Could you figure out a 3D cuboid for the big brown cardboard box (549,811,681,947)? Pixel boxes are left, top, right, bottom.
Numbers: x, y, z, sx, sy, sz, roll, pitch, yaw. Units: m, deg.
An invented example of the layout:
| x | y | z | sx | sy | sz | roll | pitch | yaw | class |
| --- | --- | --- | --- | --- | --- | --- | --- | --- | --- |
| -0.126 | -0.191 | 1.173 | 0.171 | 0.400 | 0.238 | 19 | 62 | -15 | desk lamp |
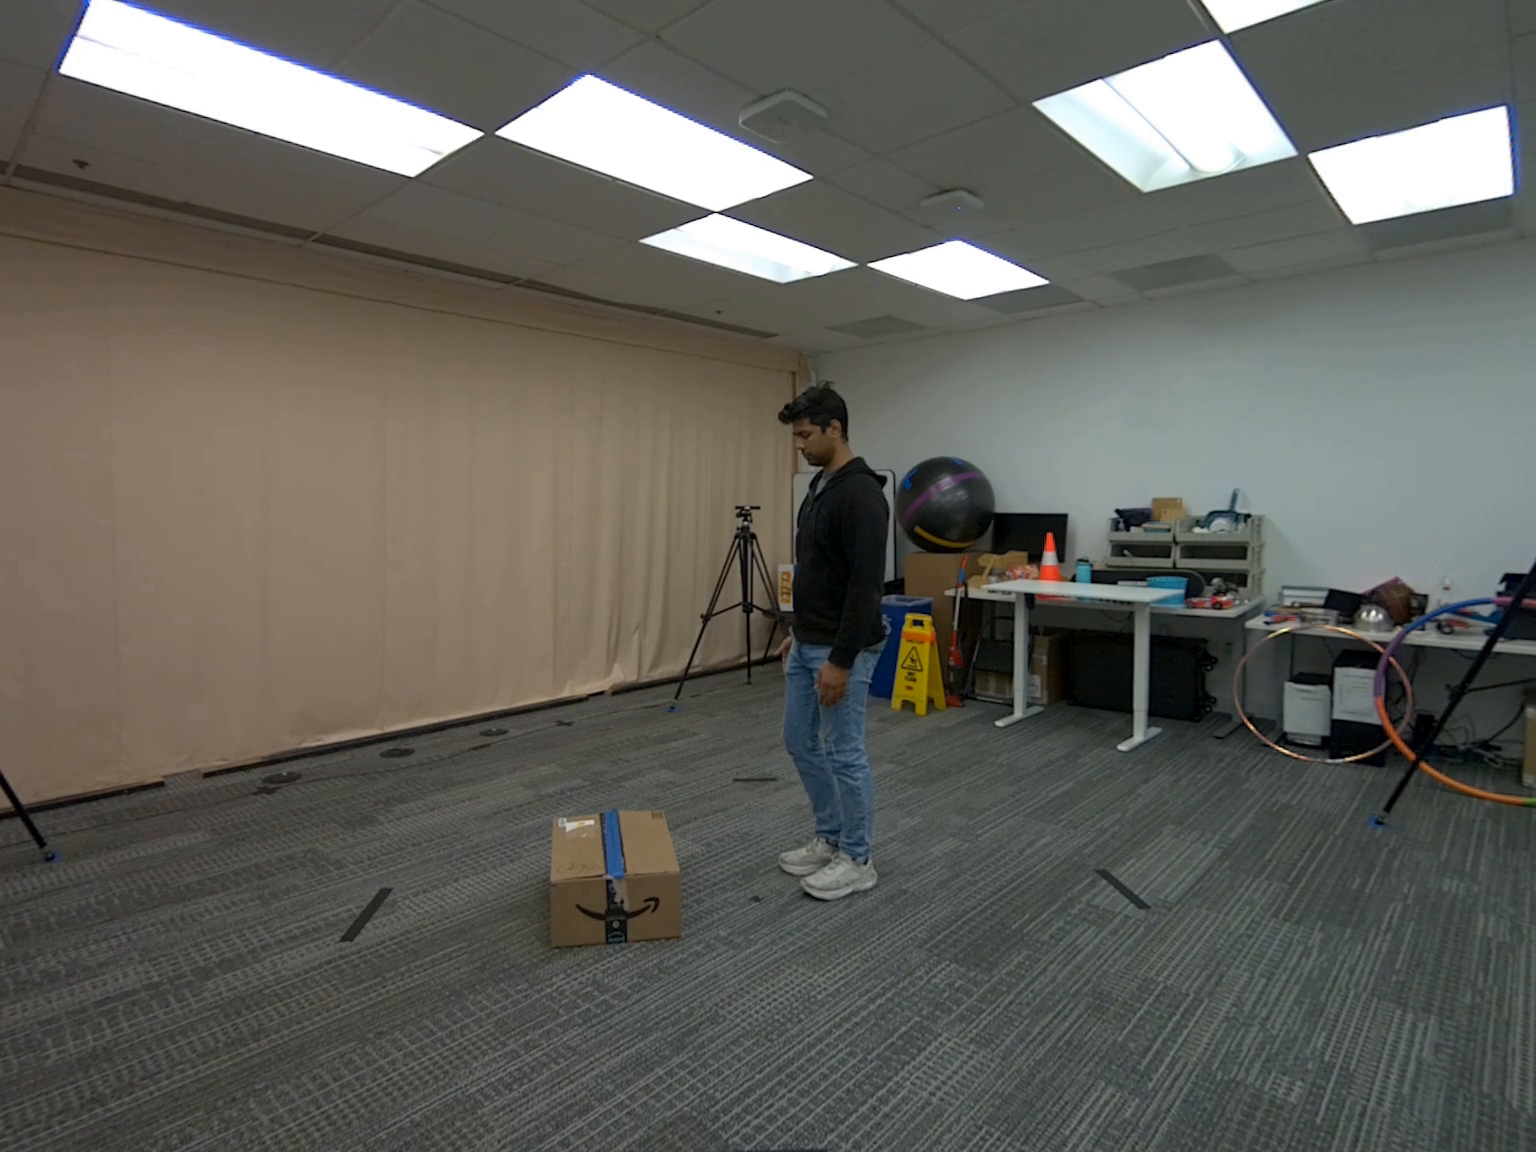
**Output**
| x | y | z | sx | sy | sz | roll | pitch | yaw | class |
| --- | --- | --- | --- | --- | --- | --- | --- | --- | --- |
| -0.545 | 1.038 | 2.960 | 0.413 | 0.232 | 0.598 | -1 | 6 | -12 | big brown cardboard box |
